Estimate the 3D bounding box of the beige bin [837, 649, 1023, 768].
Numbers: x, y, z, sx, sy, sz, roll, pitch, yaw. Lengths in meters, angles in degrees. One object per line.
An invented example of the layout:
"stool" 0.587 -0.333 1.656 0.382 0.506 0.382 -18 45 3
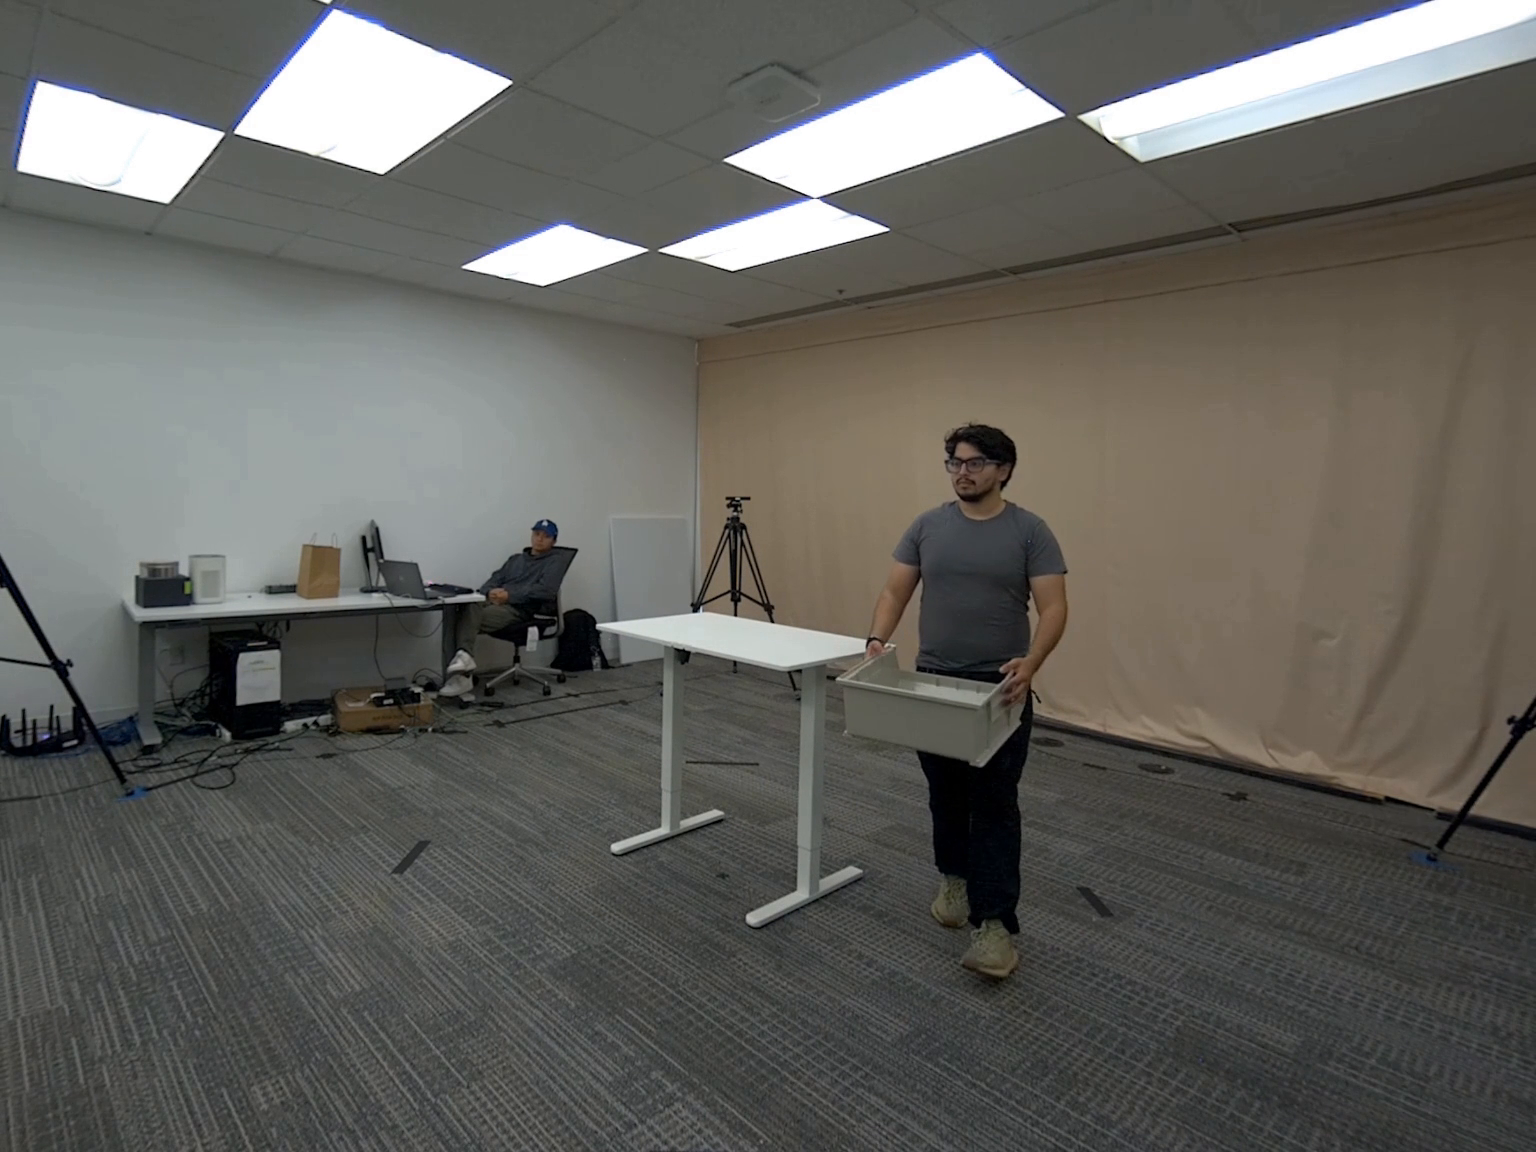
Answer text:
"beige bin" 0.464 0.352 2.427 0.432 0.187 0.372 6 18 34
